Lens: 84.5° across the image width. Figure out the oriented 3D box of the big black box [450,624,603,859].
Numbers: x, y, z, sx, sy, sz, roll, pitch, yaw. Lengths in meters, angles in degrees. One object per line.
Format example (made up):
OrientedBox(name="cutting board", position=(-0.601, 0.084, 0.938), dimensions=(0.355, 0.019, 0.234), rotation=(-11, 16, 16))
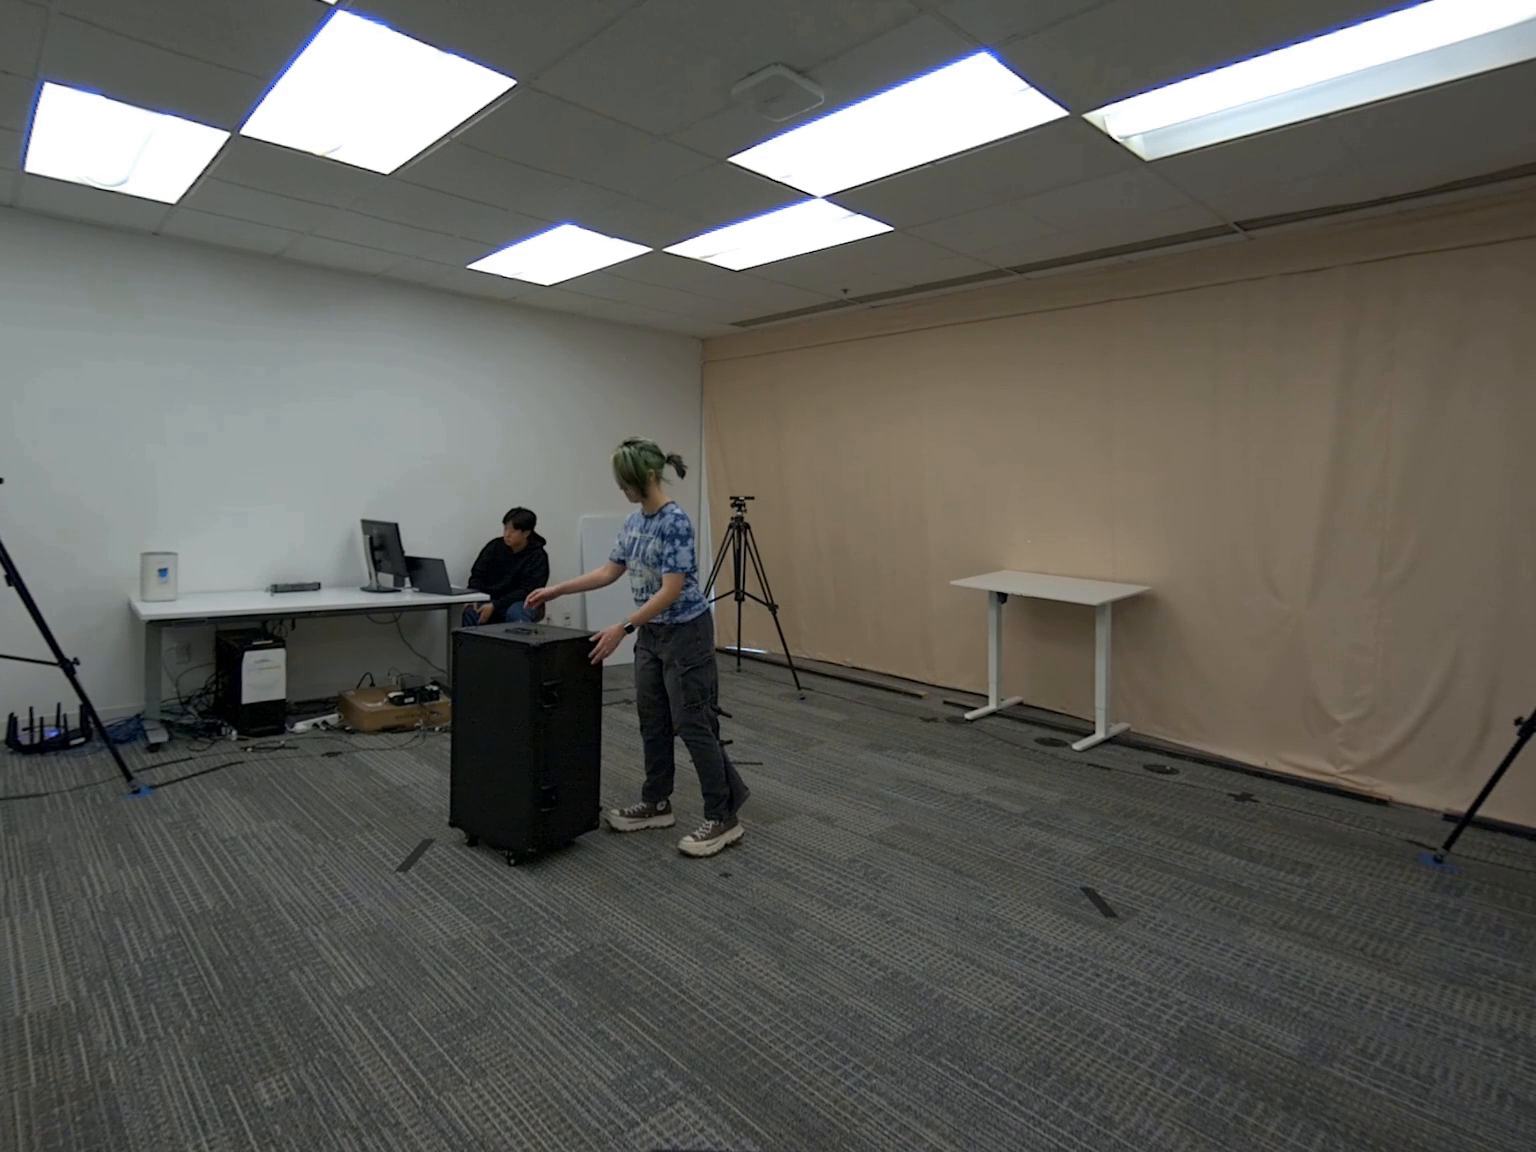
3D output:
OrientedBox(name="big black box", position=(-0.960, 0.641, 3.324), dimensions=(0.533, 0.860, 0.388), rotation=(3, 3, 34))
